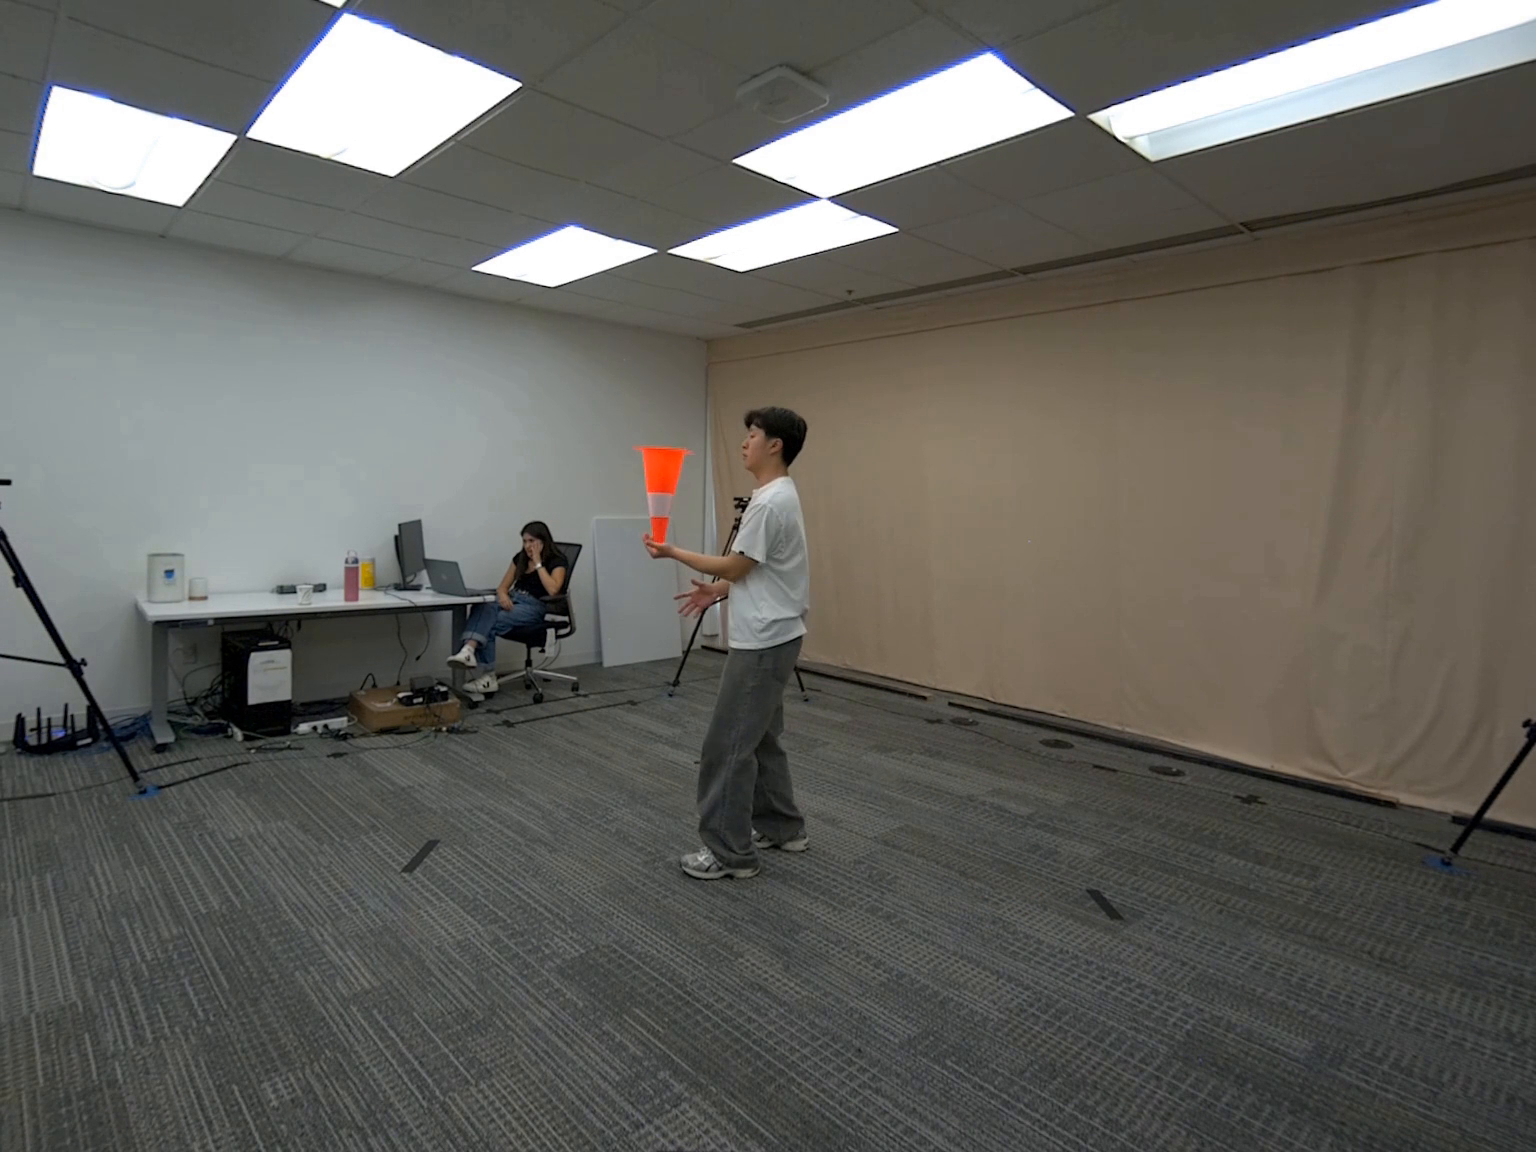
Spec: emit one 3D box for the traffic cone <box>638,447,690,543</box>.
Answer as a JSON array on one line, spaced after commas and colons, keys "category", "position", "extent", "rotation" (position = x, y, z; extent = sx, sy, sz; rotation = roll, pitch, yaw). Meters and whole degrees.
[{"category": "traffic cone", "position": [-0.412, -0.293, 3.206], "extent": [0.207, 0.383, 0.201], "rotation": [3, 1, 14]}]
